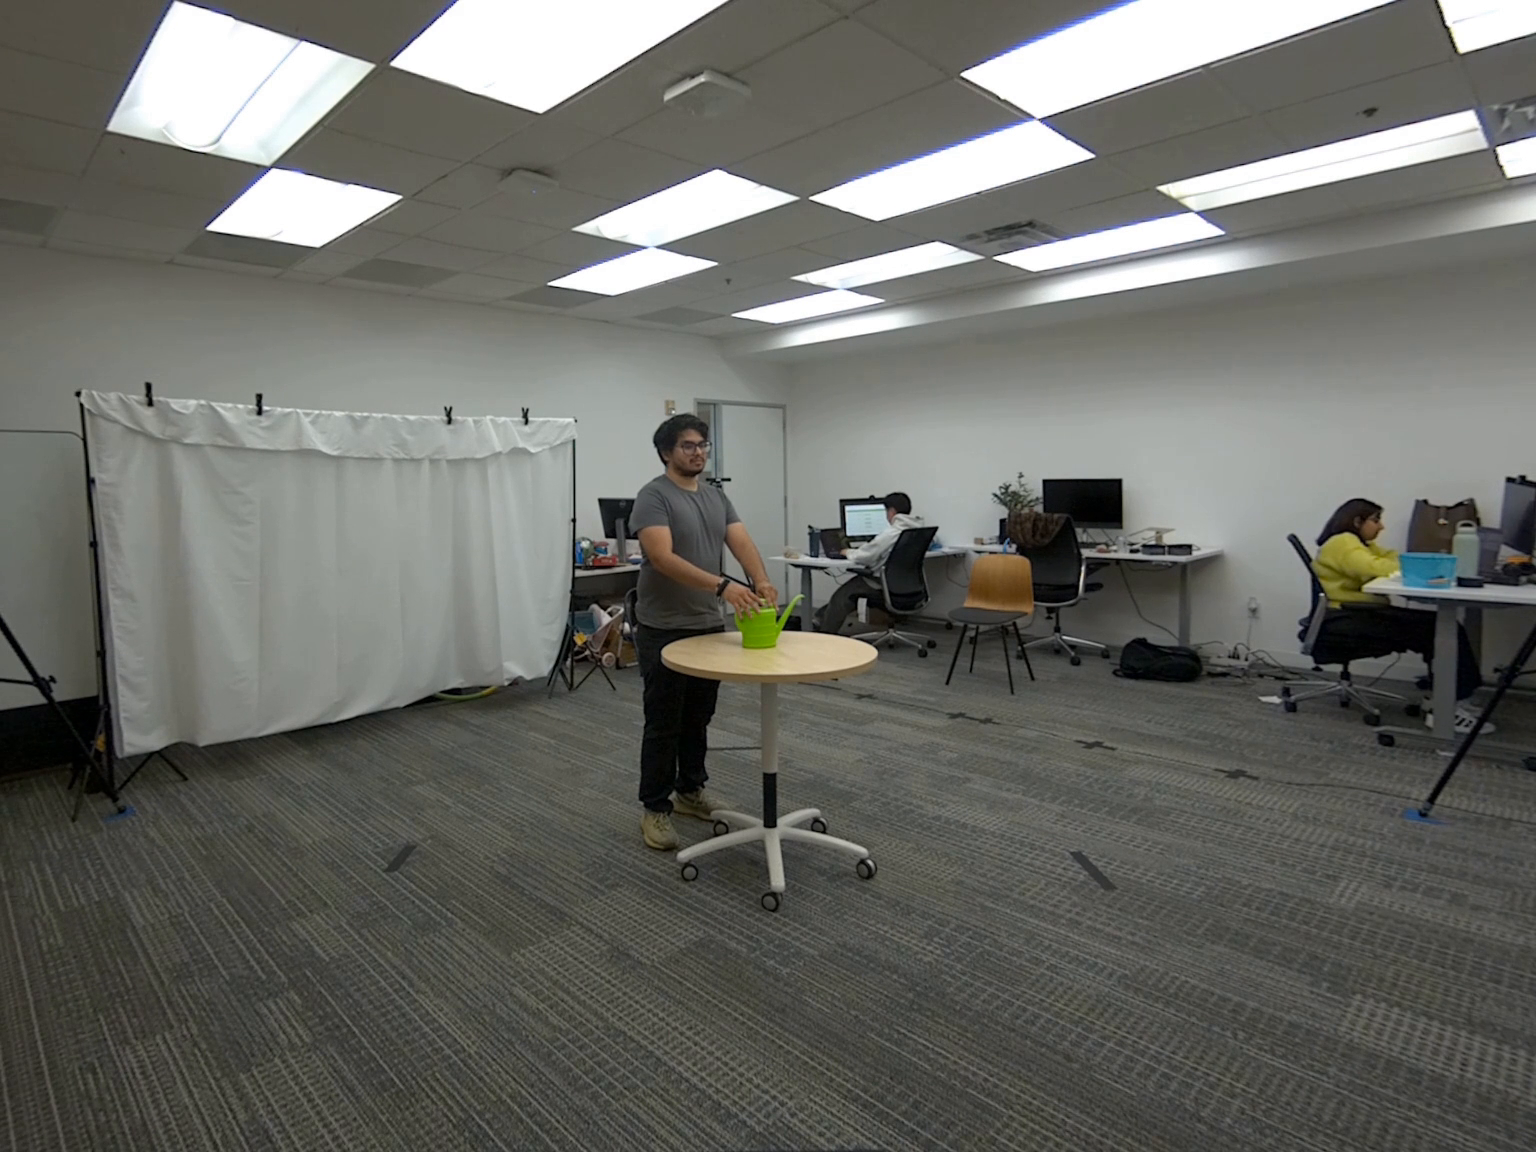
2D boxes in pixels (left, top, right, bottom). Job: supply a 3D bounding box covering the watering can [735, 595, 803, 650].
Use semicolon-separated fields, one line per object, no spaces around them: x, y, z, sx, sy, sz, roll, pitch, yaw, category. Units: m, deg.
0.013;0.168;3.118;0.276;0.176;0.099;-4;5;-9;watering can
